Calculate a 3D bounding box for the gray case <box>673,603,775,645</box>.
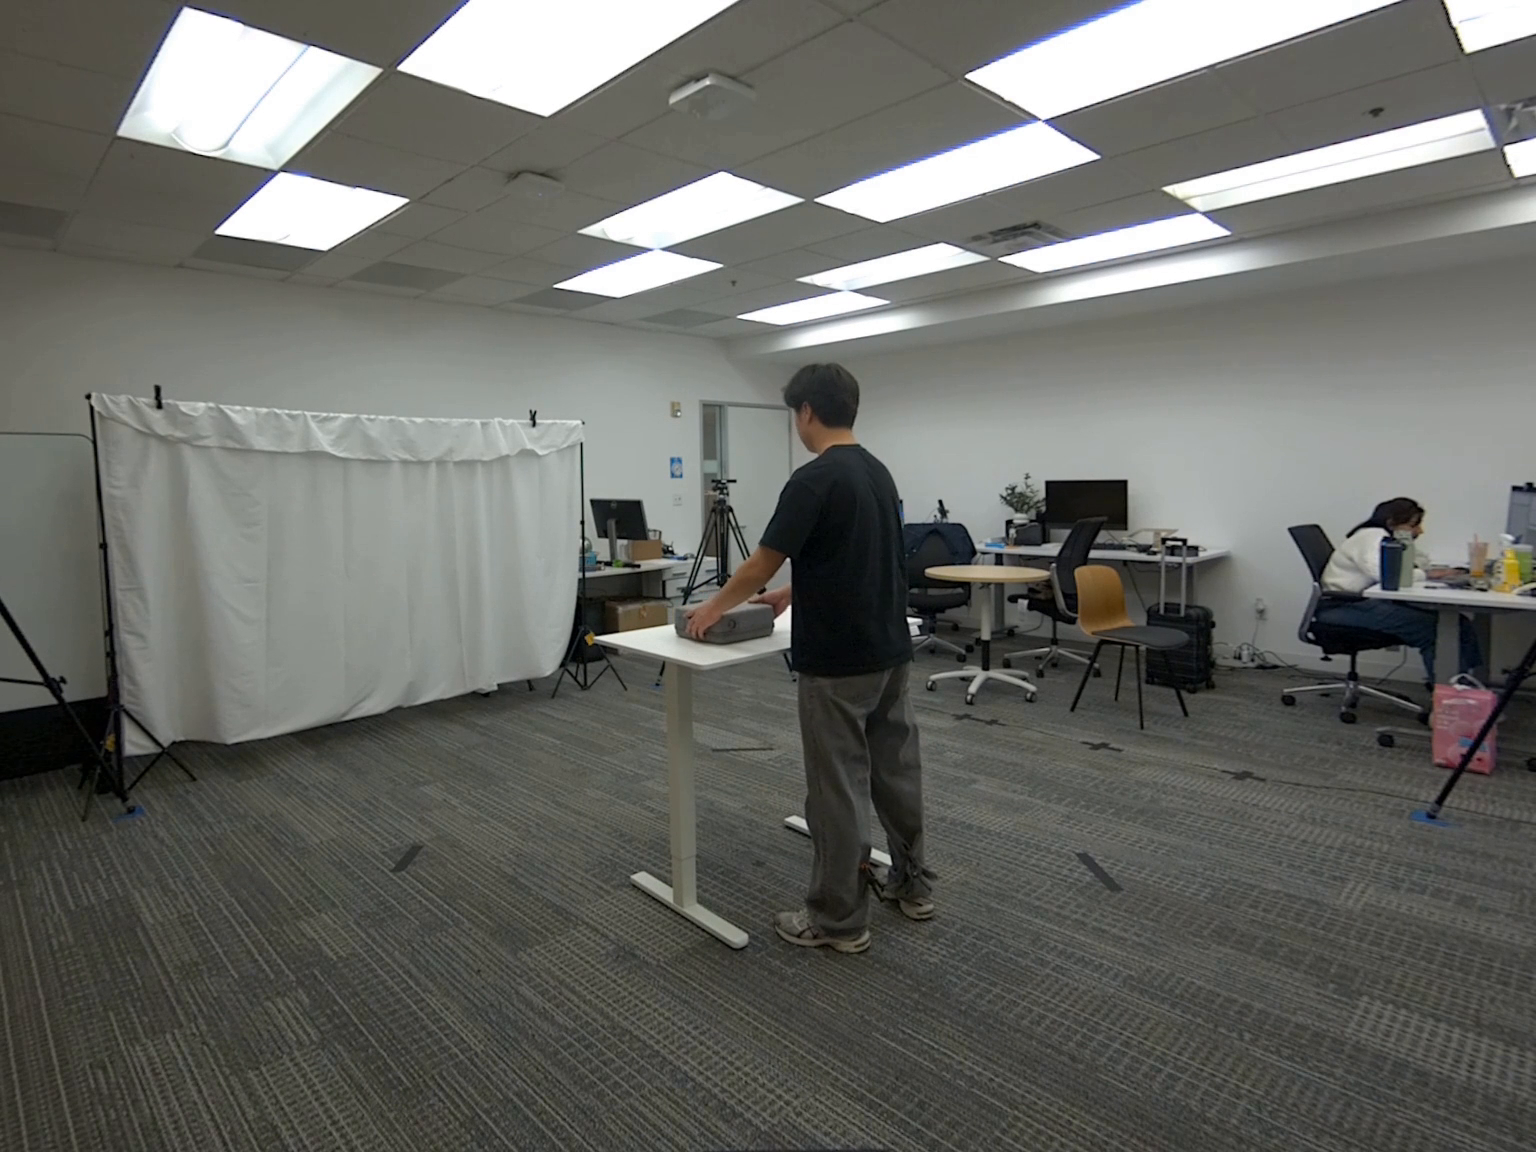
[{"bbox_3d":[-0.157,0.149,2.829,0.280,0.102,0.271,-6,8,-39],"label":"gray case"}]
